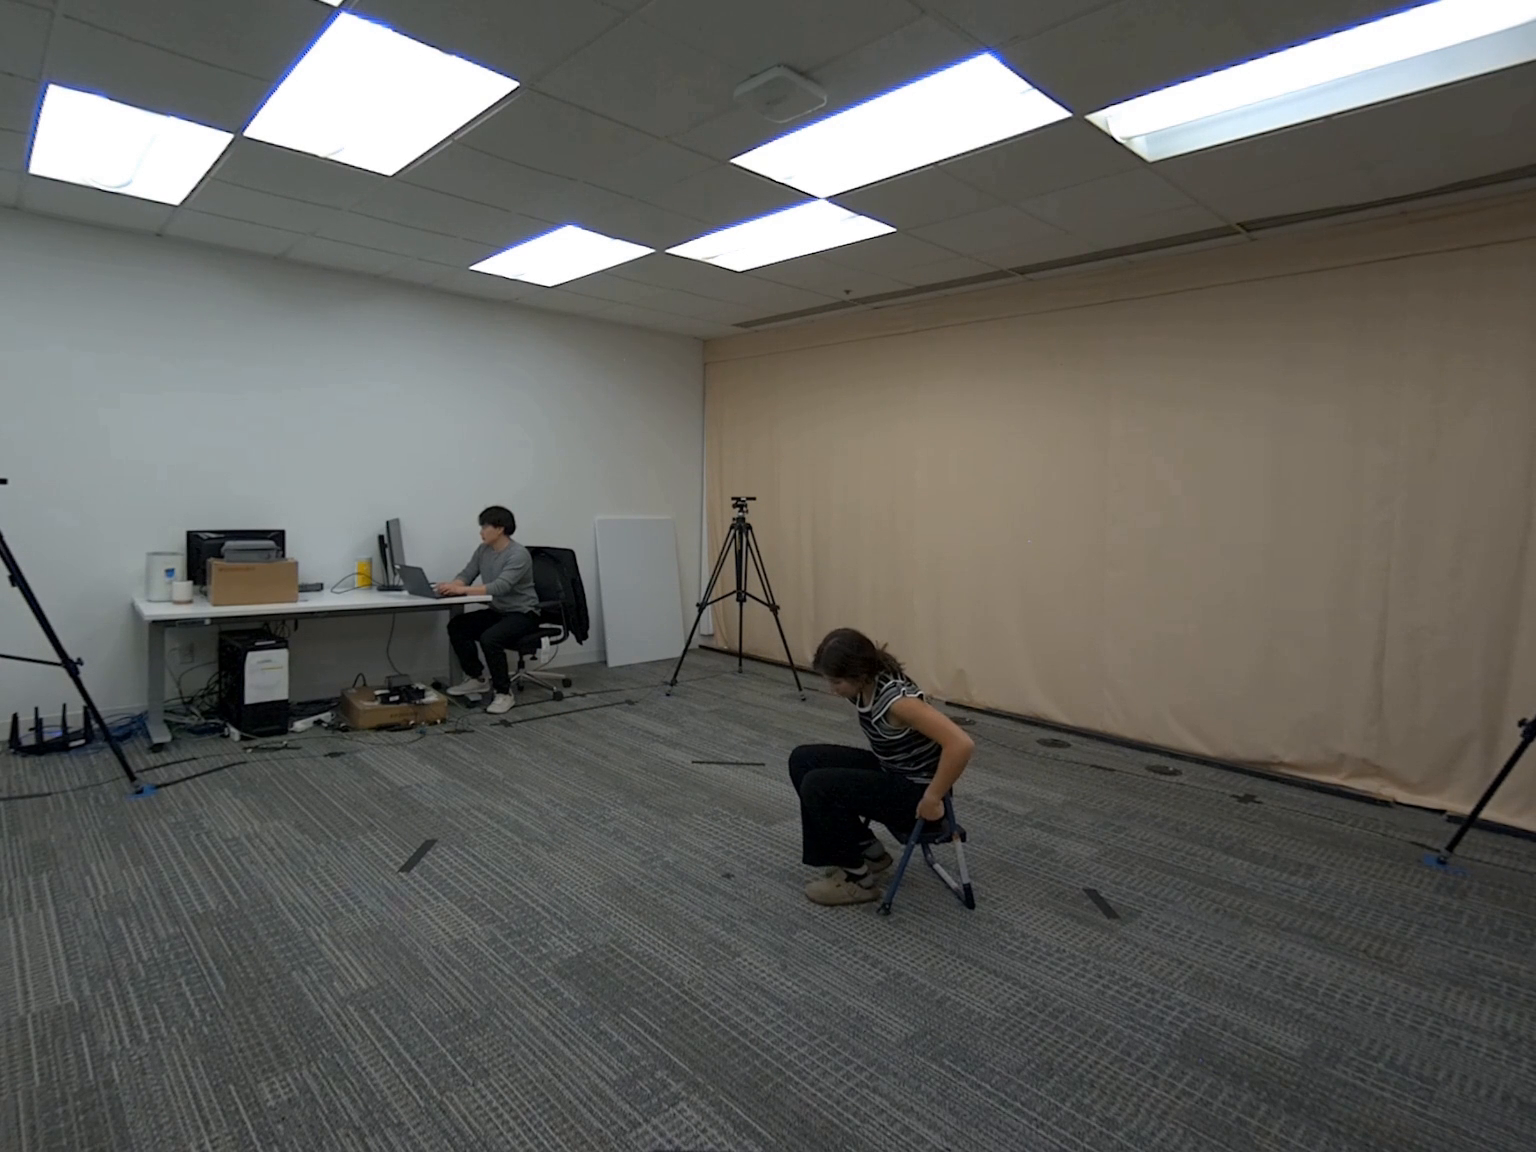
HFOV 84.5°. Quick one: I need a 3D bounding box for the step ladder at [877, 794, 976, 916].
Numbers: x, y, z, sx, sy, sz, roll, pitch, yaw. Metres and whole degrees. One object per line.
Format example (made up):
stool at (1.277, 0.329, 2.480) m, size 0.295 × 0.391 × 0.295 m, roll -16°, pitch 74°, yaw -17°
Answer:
step ladder at (0.513, 0.838, 3.053) m, size 0.346 × 0.604 × 0.436 m, roll 1°, pitch 5°, yaw -12°
